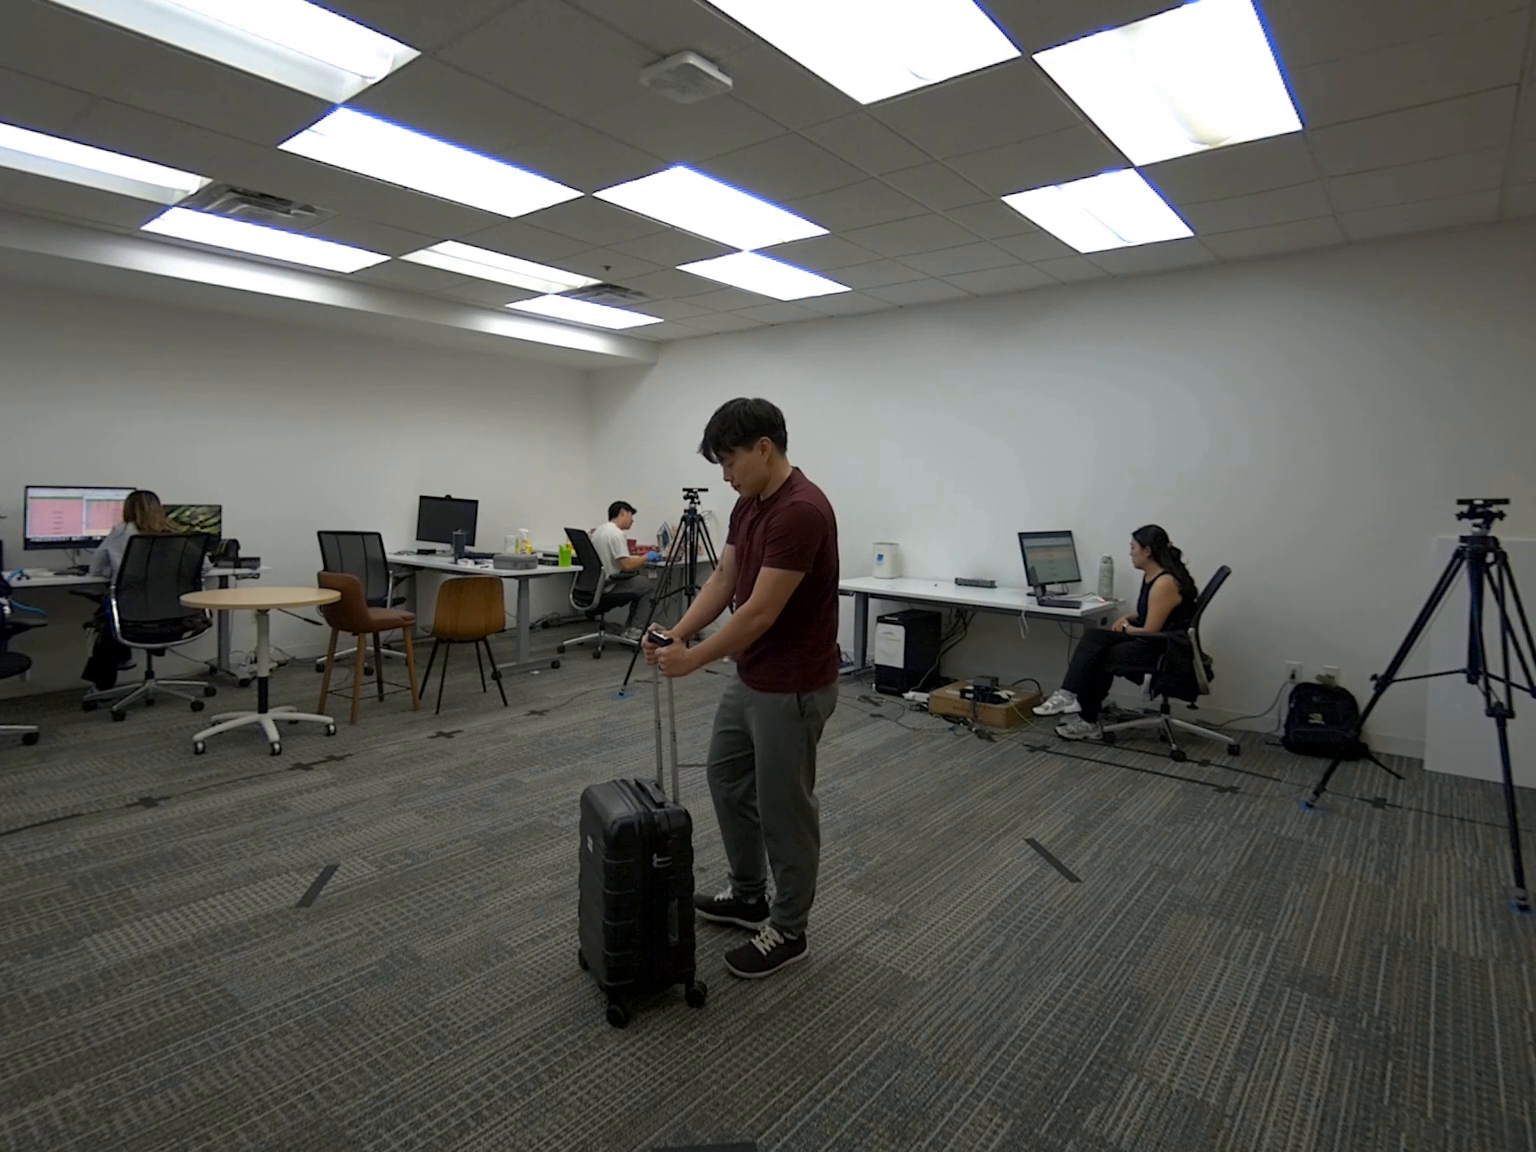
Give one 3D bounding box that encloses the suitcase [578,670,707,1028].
[{"bbox_3d":[-0.391,0.663,2.359,0.252,0.975,0.393,-4,4,-22],"label":"suitcase"}]
